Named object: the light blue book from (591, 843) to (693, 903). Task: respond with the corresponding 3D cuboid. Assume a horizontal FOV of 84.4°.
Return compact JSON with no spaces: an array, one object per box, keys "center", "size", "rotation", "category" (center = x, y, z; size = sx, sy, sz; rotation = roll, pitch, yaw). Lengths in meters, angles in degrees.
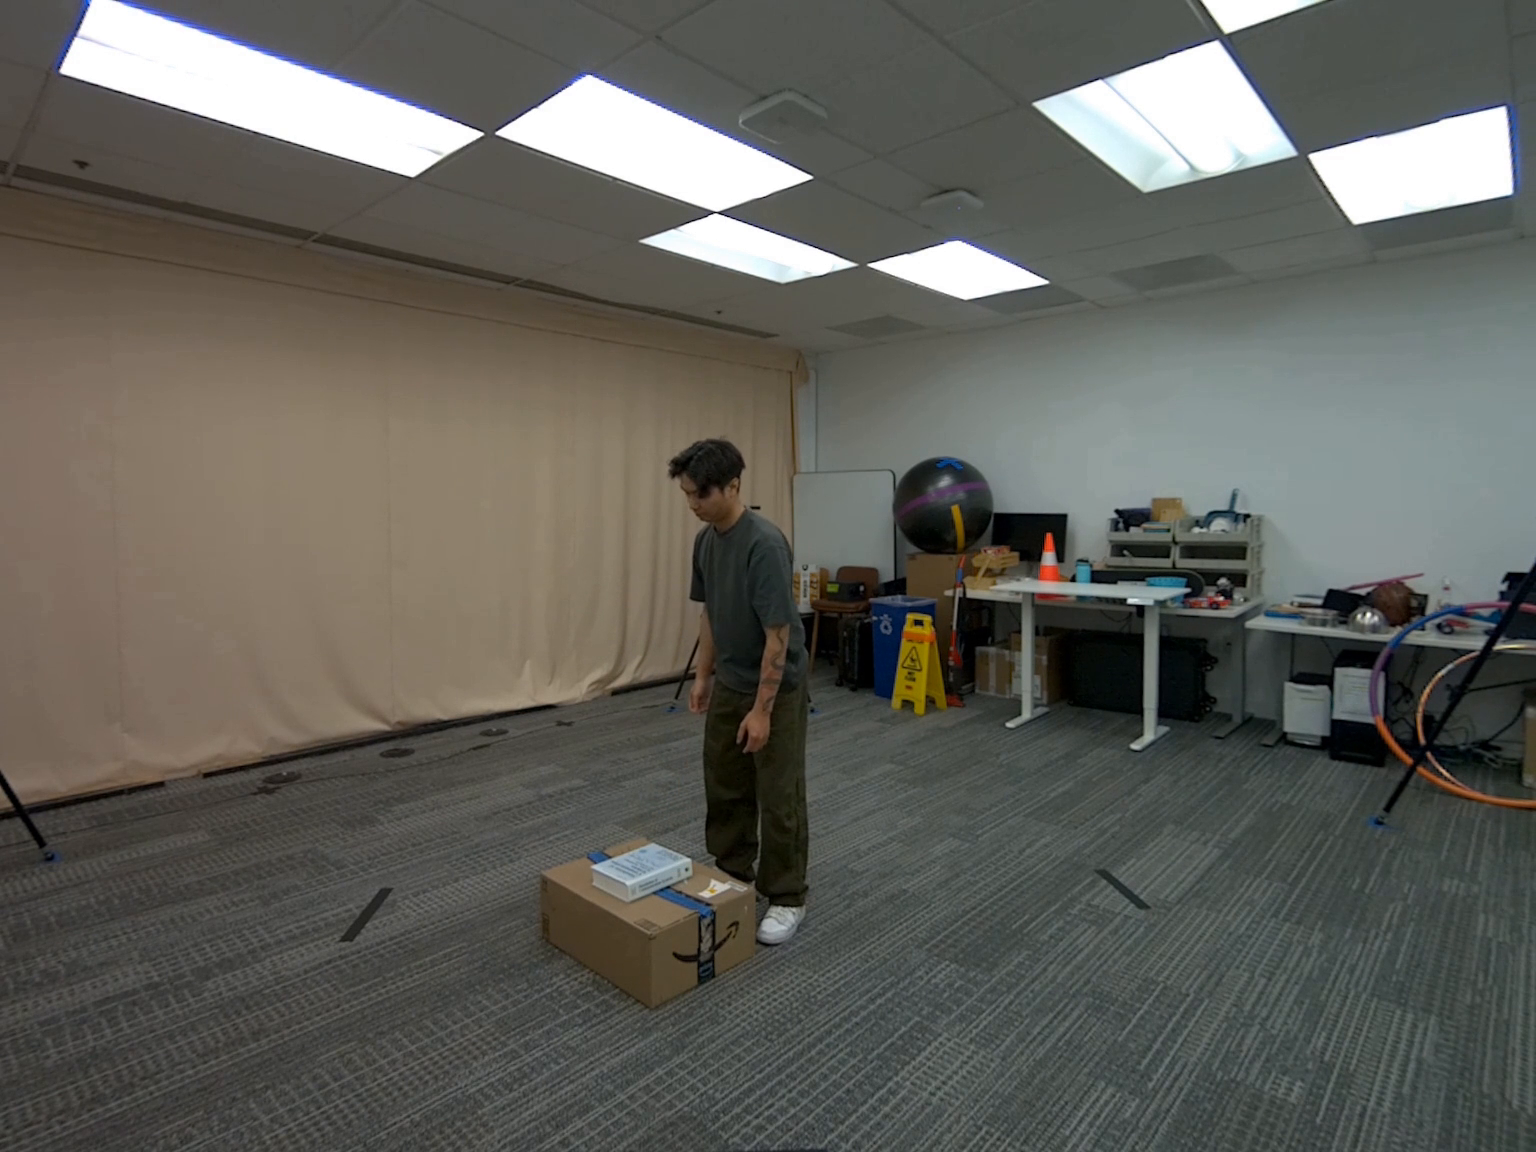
[{"center":[-0.399,0.937,2.662],"size":[0.198,0.059,0.253],"rotation":[3,5,43],"category":"light blue book"}]
